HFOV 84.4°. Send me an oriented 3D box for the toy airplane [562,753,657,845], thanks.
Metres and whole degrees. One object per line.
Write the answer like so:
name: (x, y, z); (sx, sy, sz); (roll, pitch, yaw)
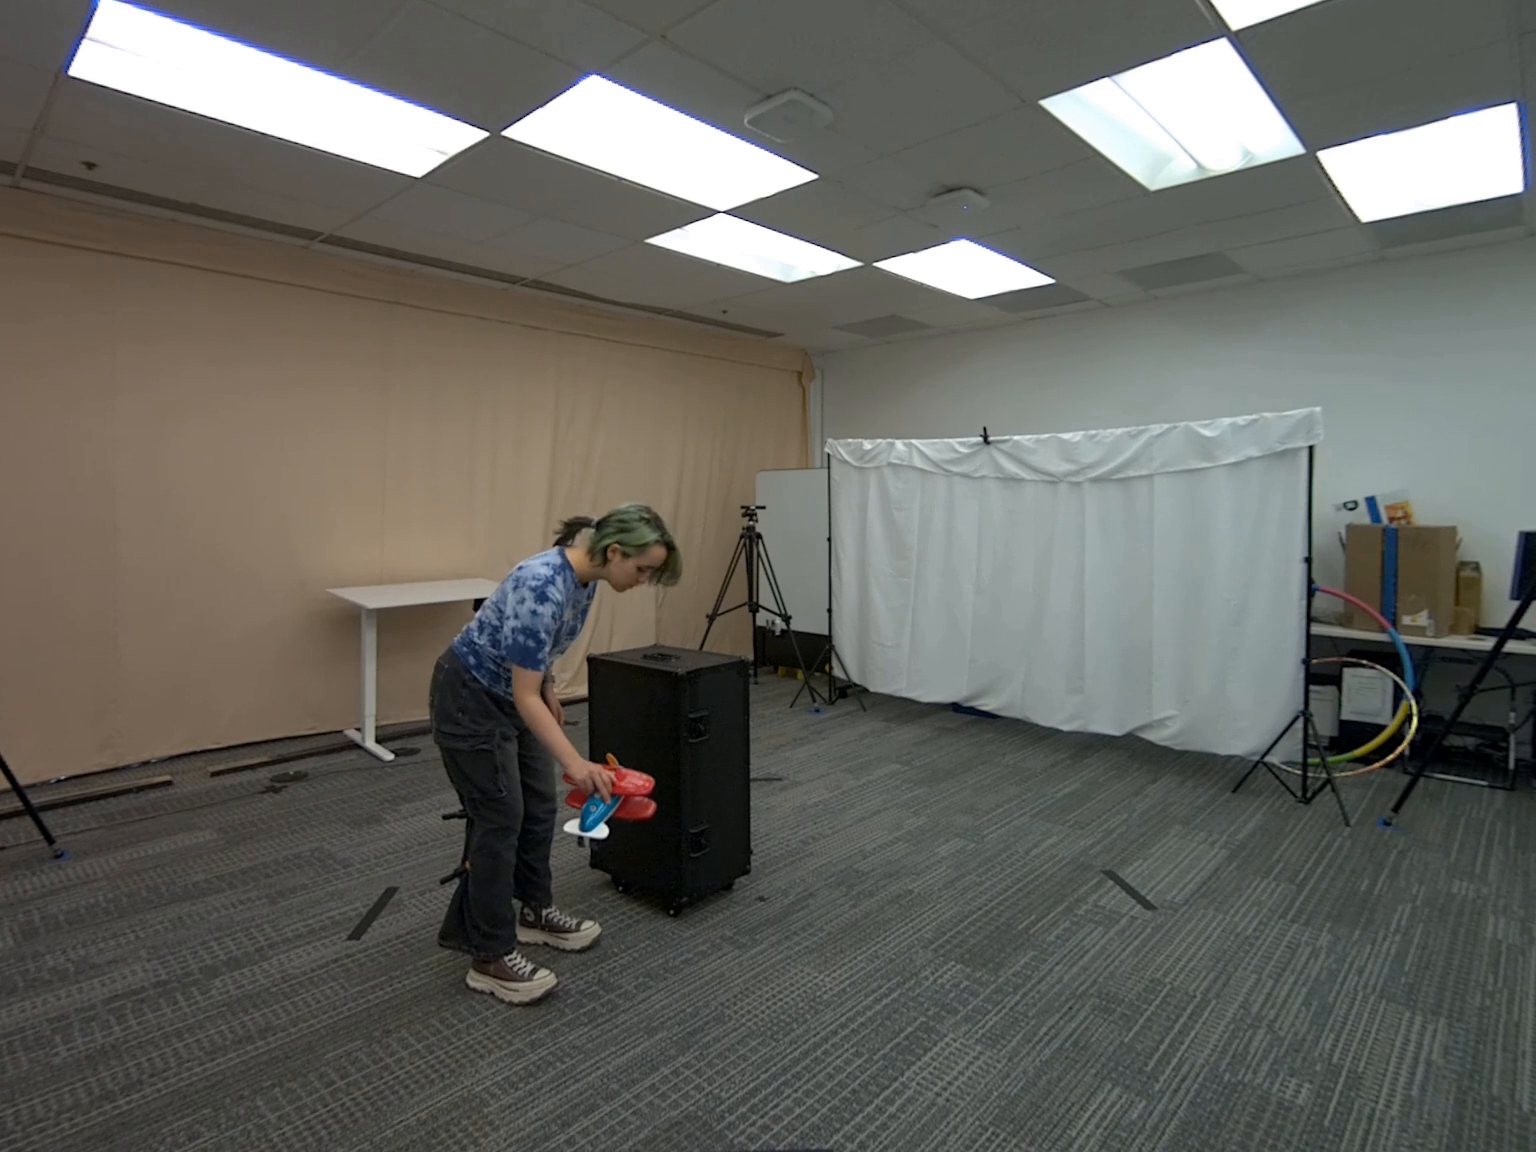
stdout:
toy airplane: (-0.414, 0.611, 2.247); (0.248, 0.155, 0.264); (1, 10, -14)
